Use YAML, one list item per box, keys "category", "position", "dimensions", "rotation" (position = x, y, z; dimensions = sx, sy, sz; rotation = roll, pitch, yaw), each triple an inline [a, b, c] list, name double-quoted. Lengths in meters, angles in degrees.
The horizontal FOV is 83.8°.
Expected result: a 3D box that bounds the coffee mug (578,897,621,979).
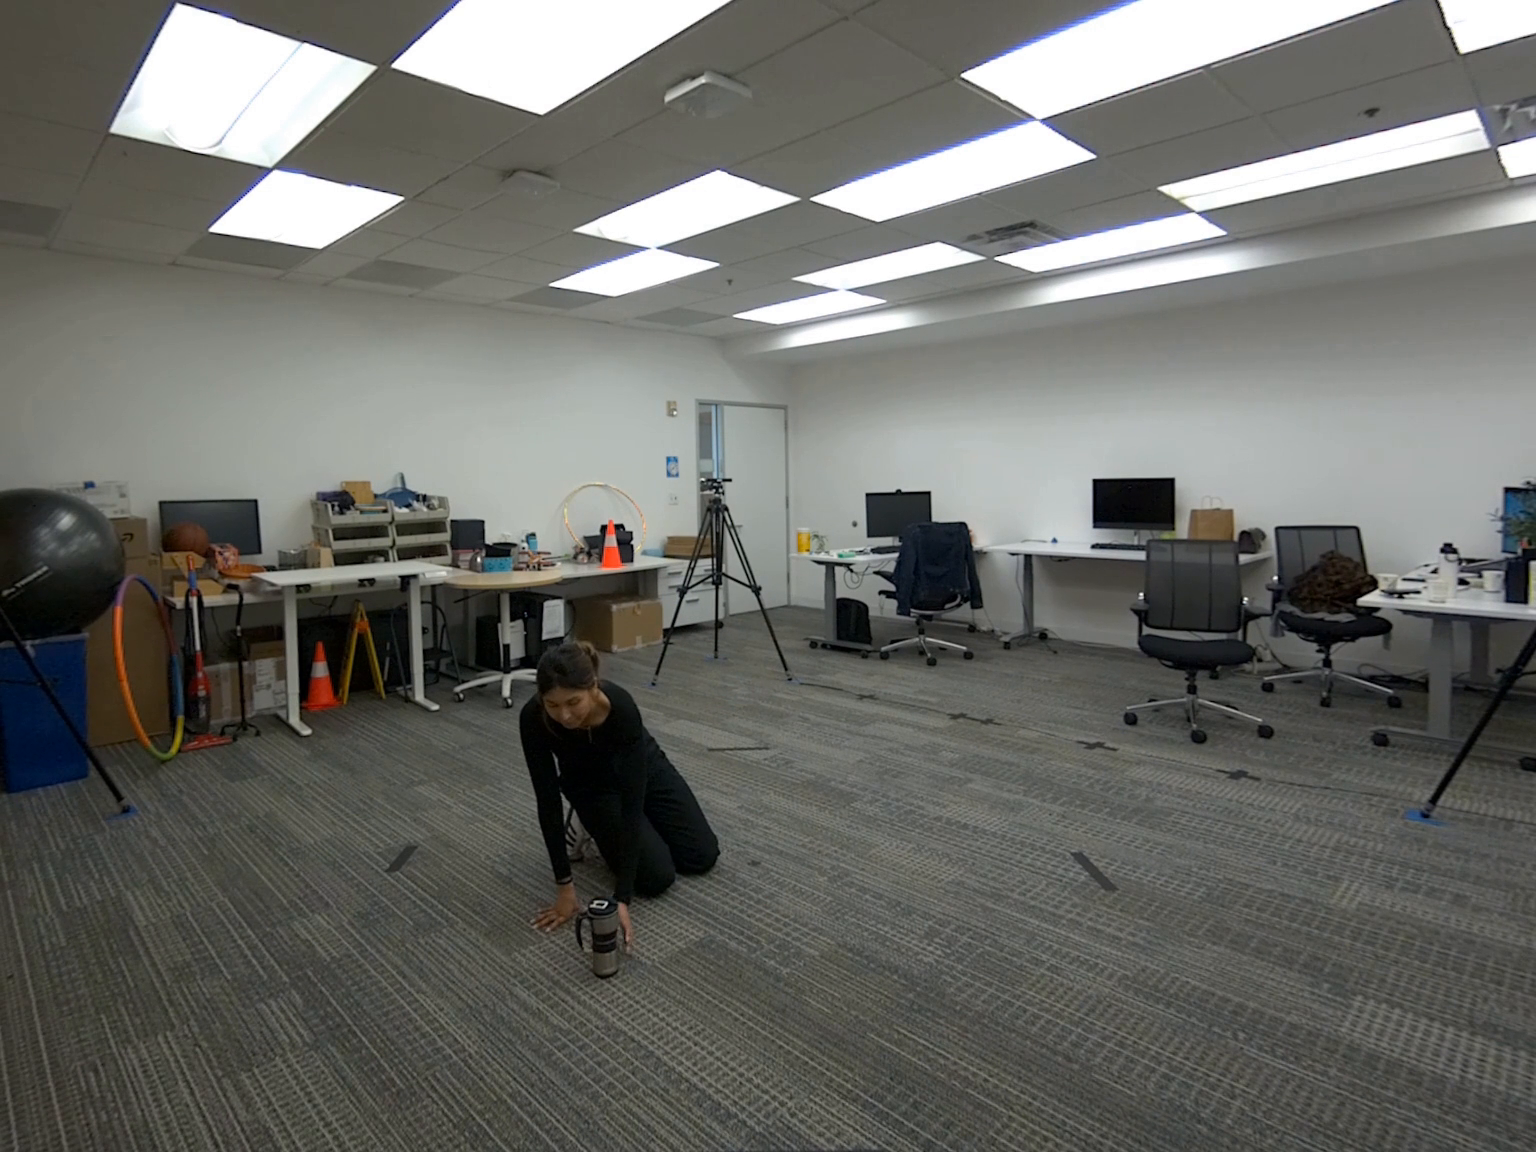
- category: "coffee mug"
  position: [-0.491, 1.040, 2.432]
  dimensions: [0.121, 0.202, 0.089]
  rotation: [0, 6, -7]
